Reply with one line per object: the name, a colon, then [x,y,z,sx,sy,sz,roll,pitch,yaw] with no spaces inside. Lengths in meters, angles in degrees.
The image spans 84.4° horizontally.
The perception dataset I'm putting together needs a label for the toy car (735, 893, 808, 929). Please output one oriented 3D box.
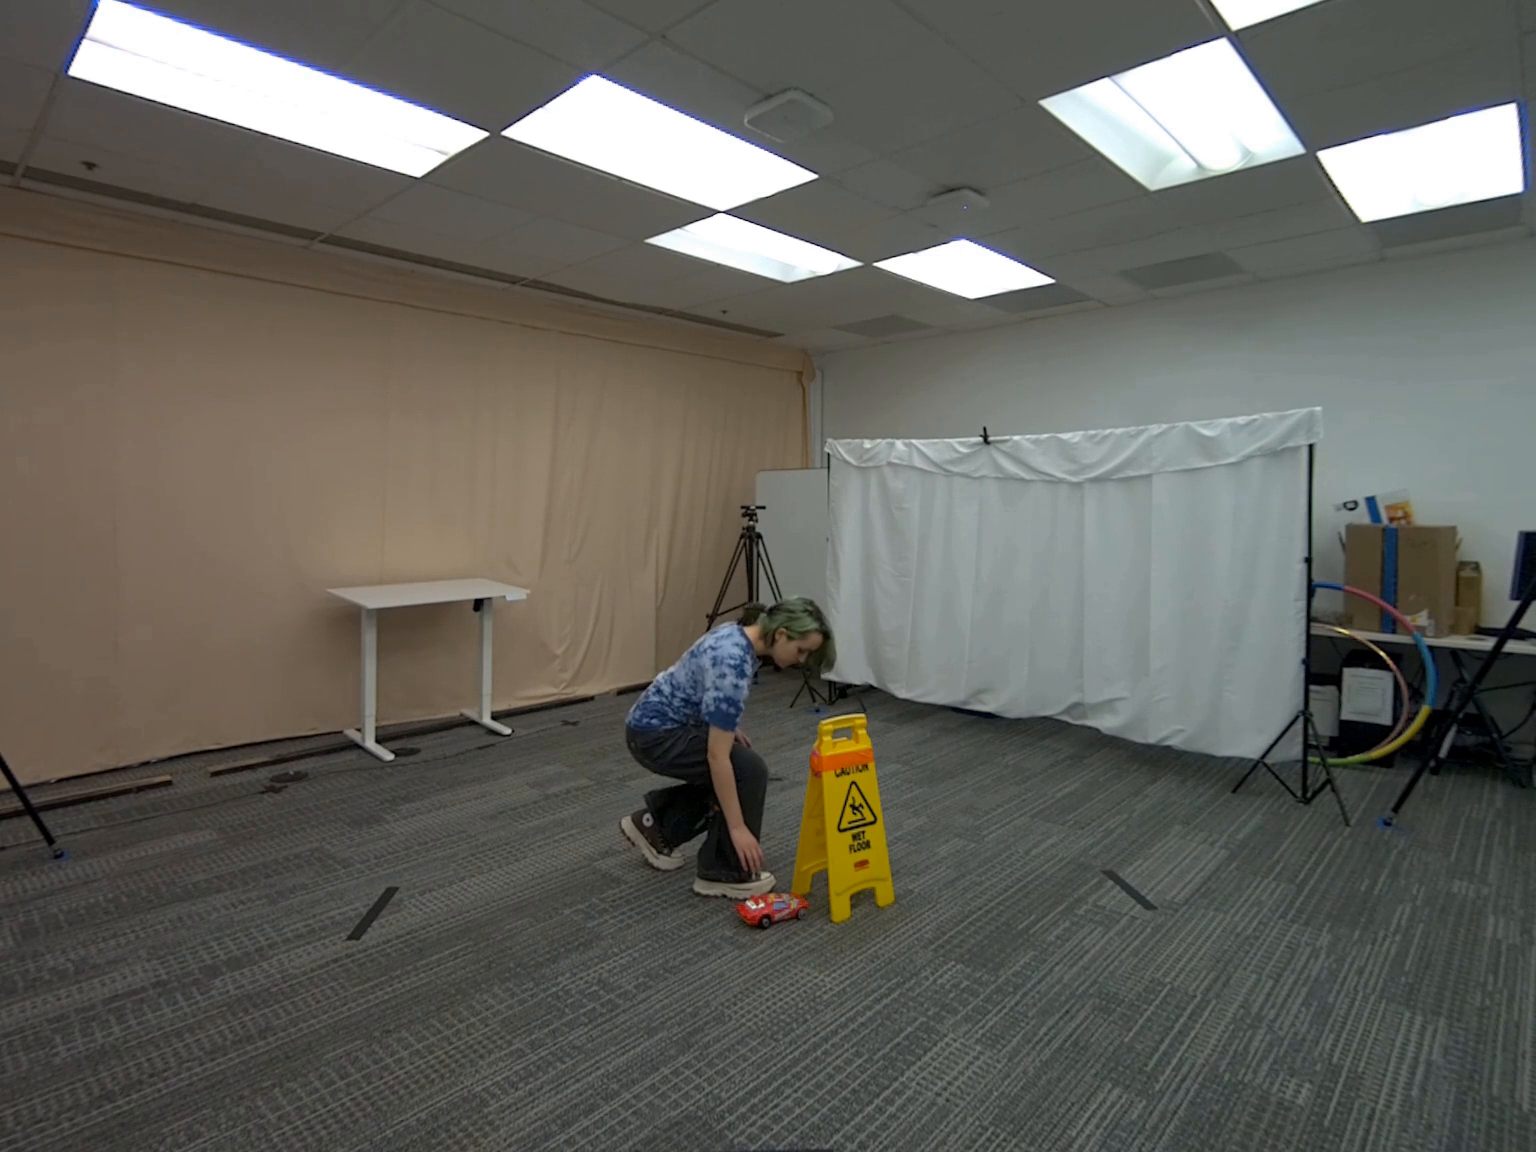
toy car: [0.010,1.132,2.831,0.248,0.083,0.134,13,-3,-26]
